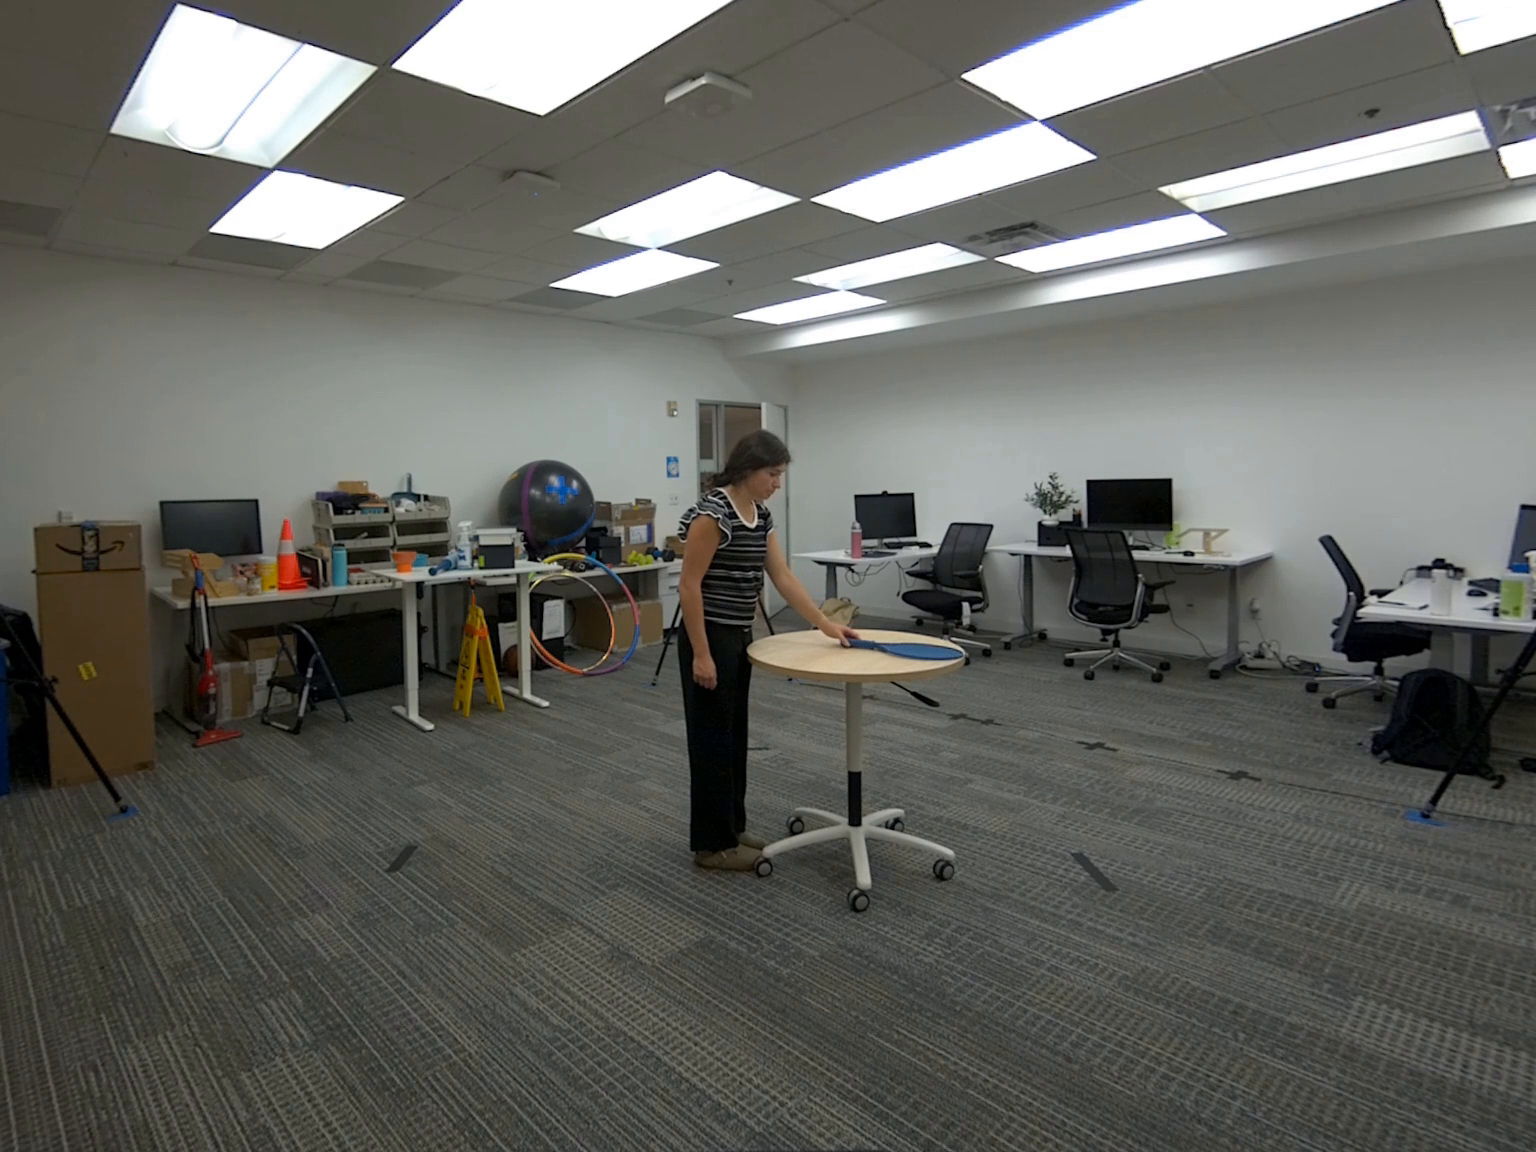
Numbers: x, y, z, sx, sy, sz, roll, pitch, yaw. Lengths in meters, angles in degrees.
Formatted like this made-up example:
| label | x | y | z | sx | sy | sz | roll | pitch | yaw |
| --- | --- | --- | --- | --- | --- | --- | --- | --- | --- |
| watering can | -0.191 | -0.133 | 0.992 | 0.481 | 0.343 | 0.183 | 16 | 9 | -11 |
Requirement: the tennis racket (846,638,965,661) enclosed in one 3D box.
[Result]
| label | x | y | z | sx | sy | sz | roll | pitch | yaw |
| --- | --- | --- | --- | --- | --- | --- | --- | --- | --- |
| tennis racket | 0.471 | 0.257 | 2.992 | 0.443 | 0.031 | 0.210 | 3 | 6 | 24 |
